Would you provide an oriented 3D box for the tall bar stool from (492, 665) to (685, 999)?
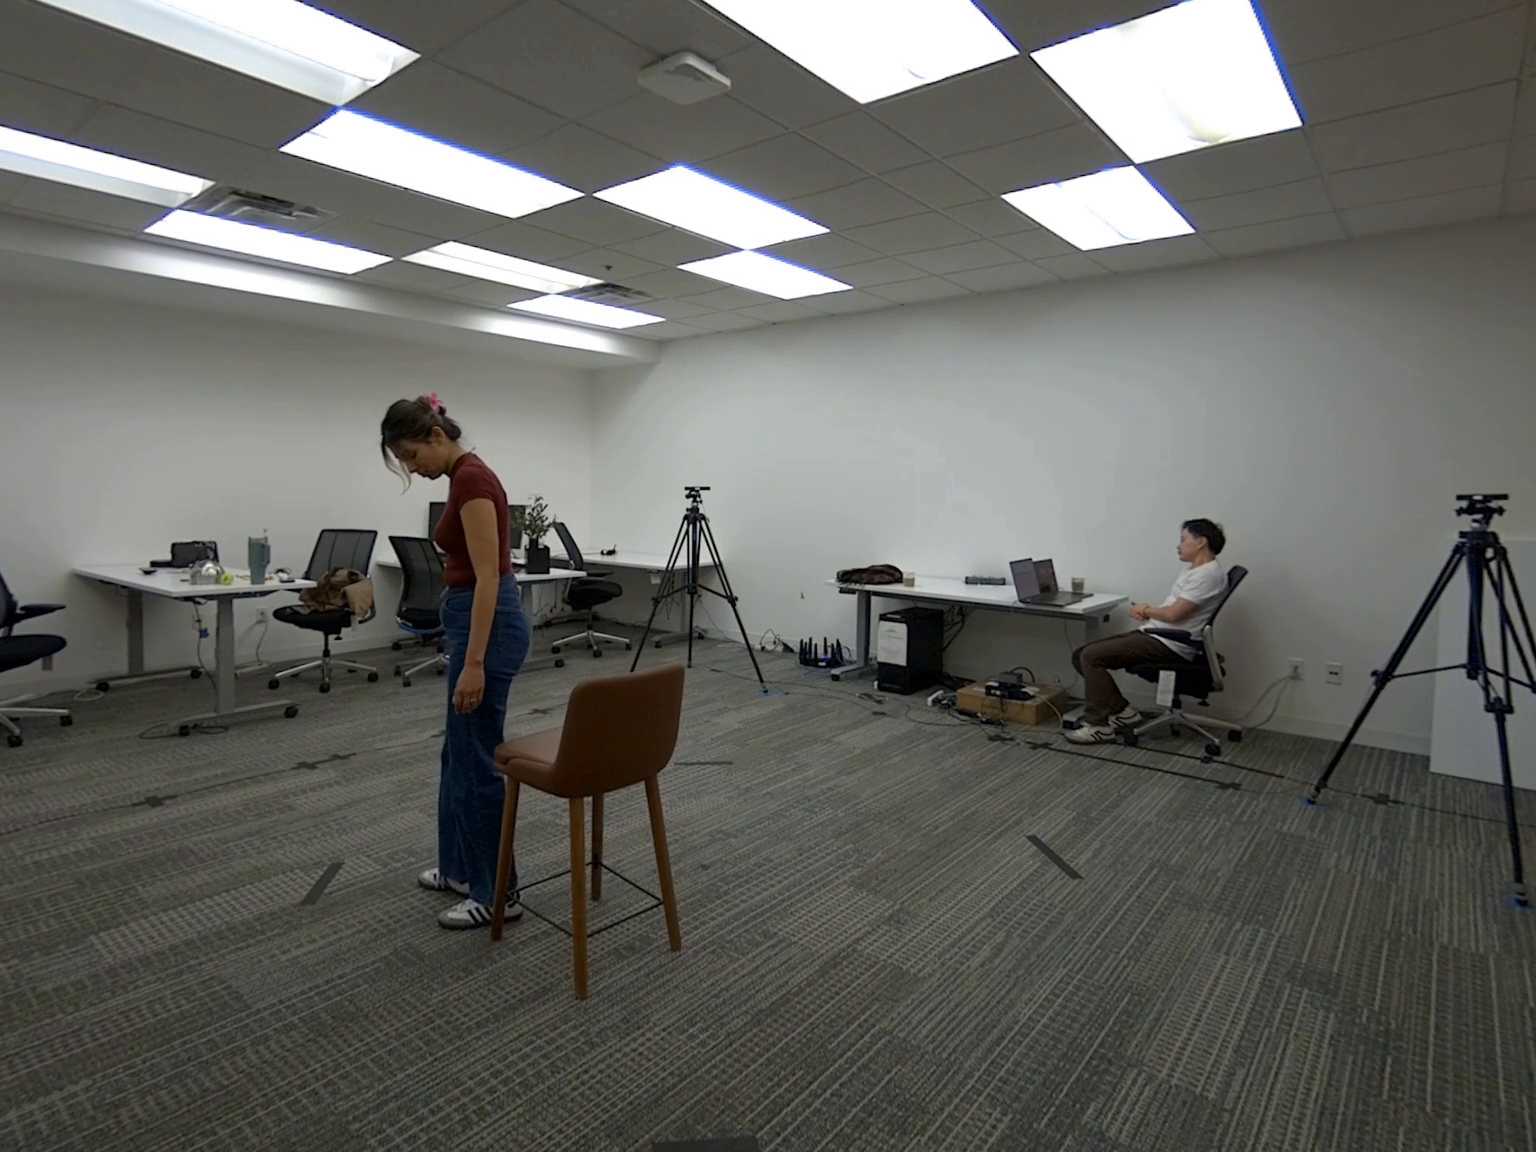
[{"bbox_3d":[-0.548,0.680,2.553,0.484,0.886,0.443,6,7,43],"label":"tall bar stool"}]
